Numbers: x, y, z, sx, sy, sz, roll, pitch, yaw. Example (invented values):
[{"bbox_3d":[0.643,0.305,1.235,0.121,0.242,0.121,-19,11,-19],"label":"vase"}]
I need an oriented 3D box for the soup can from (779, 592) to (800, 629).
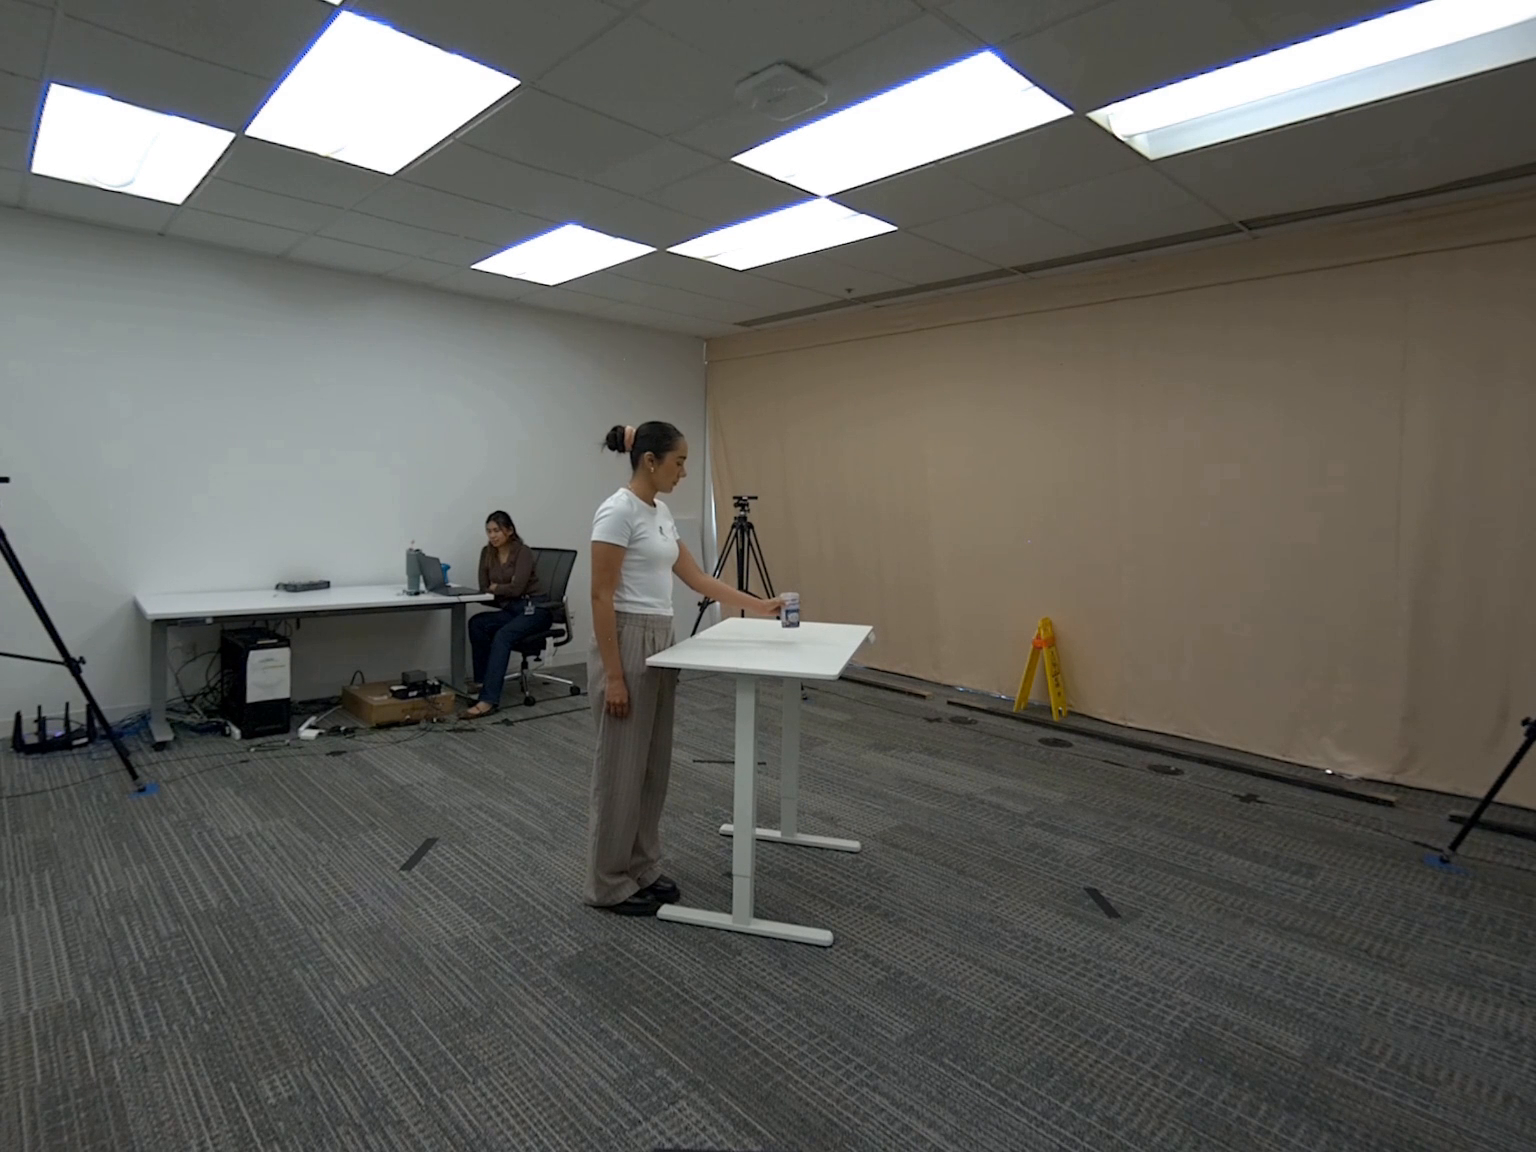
[{"bbox_3d":[0.067,0.120,2.972,0.067,0.121,0.067,-1,7,-1],"label":"soup can"}]
